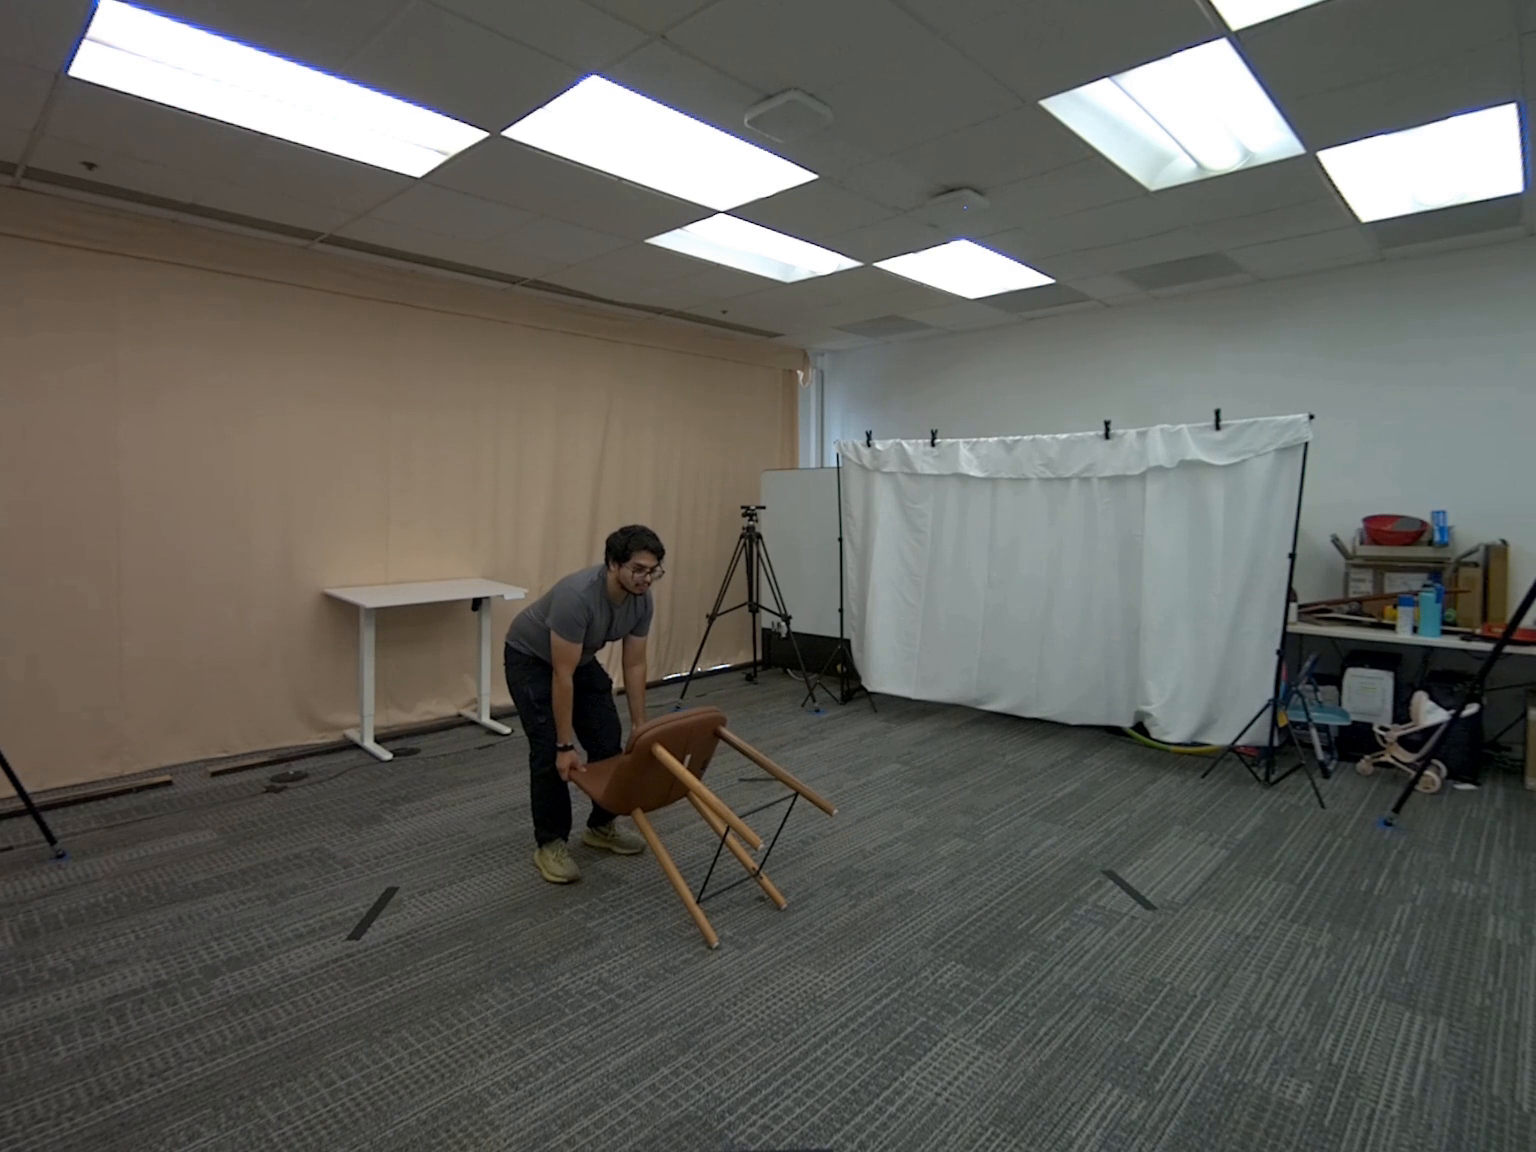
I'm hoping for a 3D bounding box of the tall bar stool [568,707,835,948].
[{"bbox_3d":[-0.274,0.753,2.950,0.921,0.465,0.442,35,25,35],"label":"tall bar stool"}]
